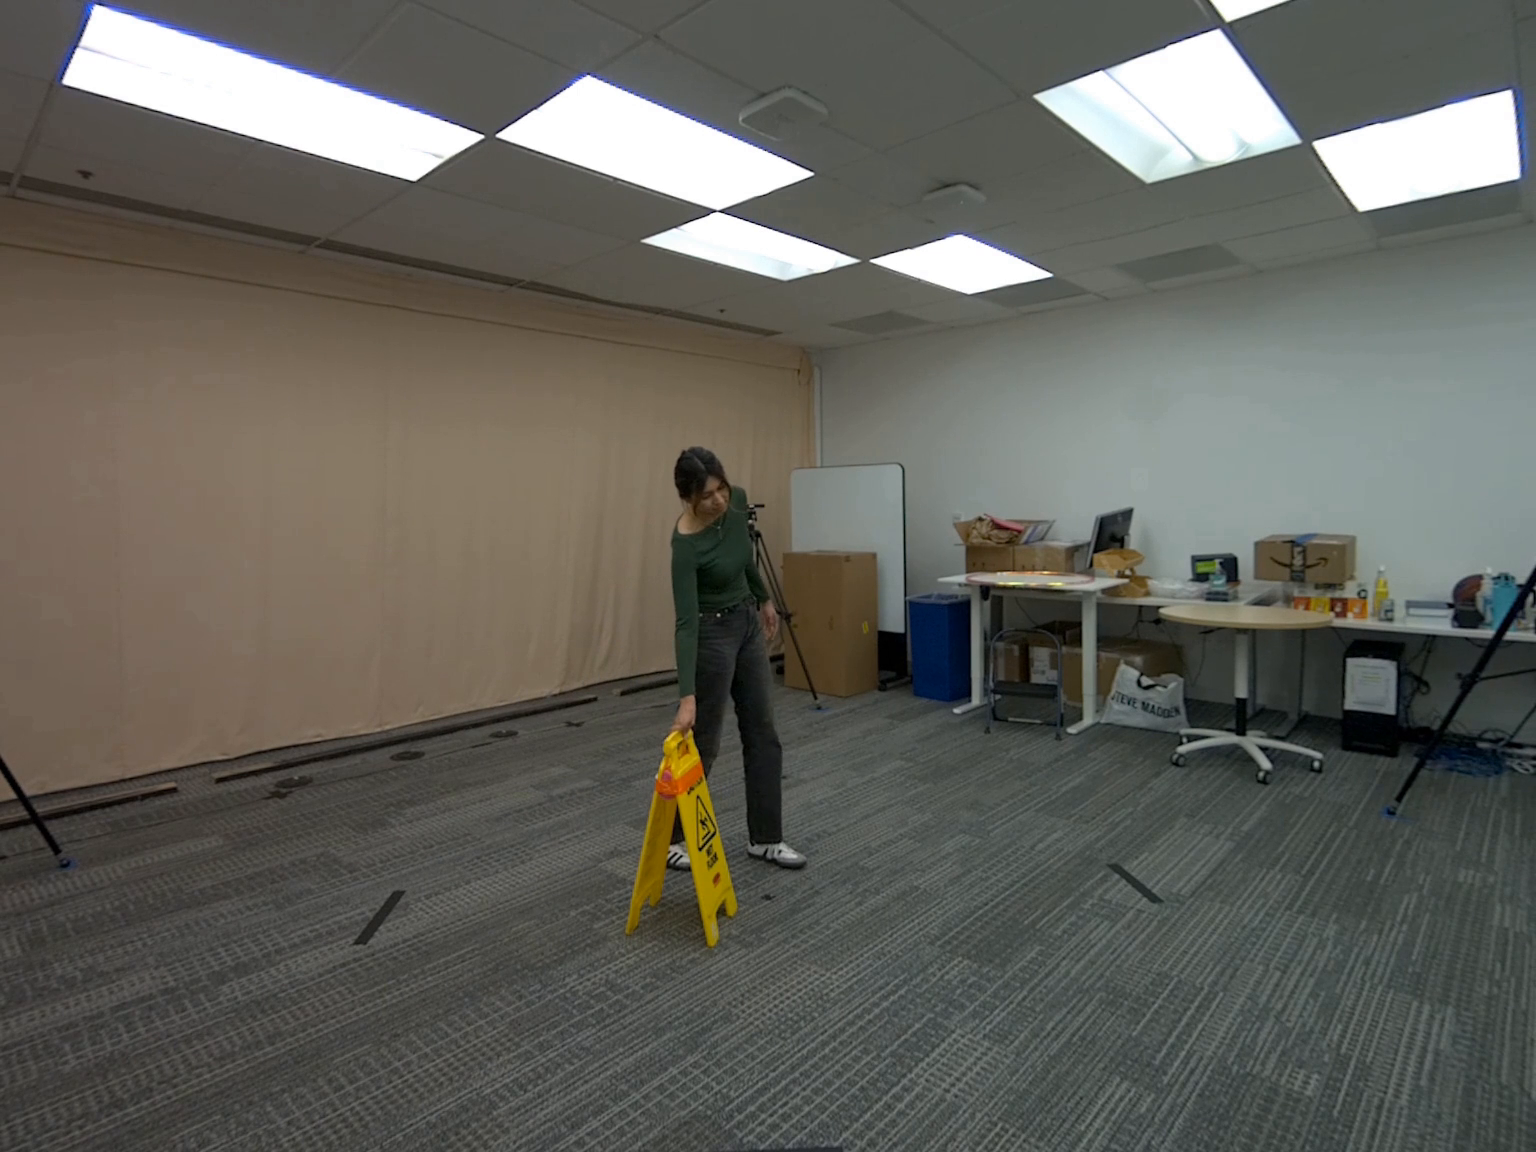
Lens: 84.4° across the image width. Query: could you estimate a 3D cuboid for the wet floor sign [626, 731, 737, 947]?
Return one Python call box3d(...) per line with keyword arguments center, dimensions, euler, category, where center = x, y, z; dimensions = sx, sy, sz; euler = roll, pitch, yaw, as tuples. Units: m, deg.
box3d(center=(-0.286, 0.837, 2.805), dimensions=(0.295, 0.644, 0.278), euler=(0, 4, 17), category="wet floor sign")
